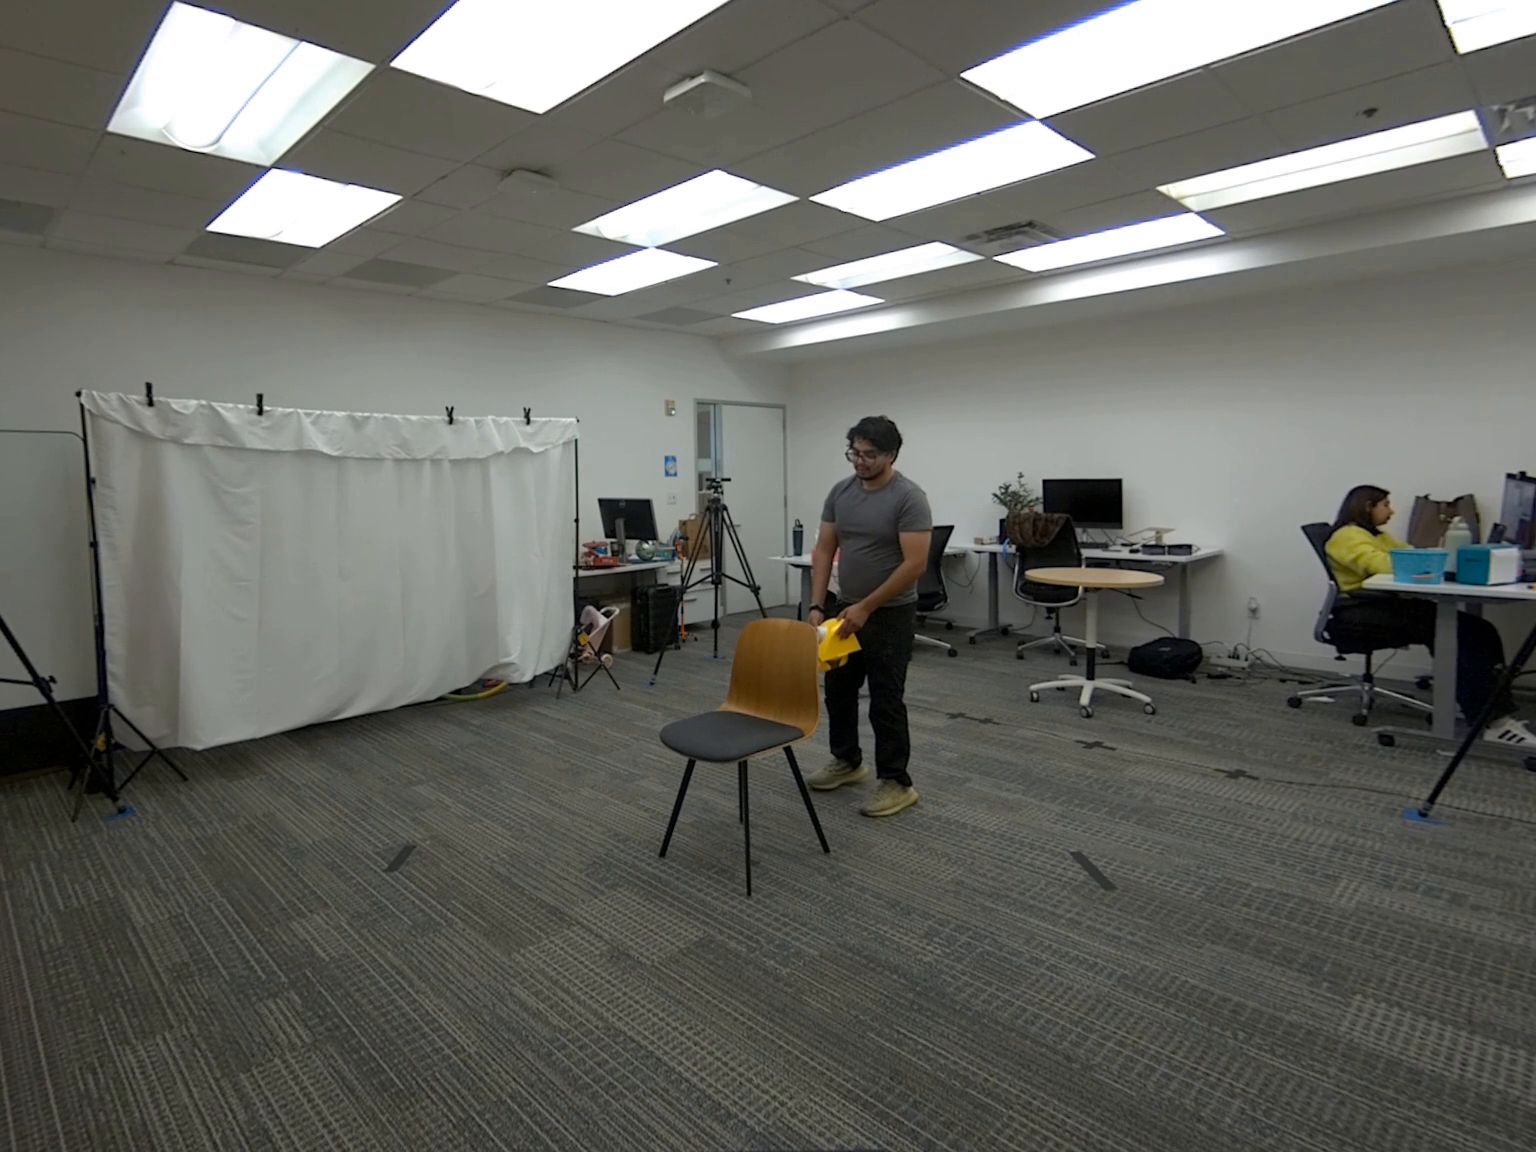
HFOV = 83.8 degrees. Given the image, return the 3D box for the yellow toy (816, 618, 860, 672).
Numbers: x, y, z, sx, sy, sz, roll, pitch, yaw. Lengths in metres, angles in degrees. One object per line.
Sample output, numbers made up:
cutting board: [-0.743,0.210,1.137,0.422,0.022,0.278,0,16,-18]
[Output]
yellow toy: [0.249,0.240,3.465,0.200,0.226,0.201,-13,36,-35]
